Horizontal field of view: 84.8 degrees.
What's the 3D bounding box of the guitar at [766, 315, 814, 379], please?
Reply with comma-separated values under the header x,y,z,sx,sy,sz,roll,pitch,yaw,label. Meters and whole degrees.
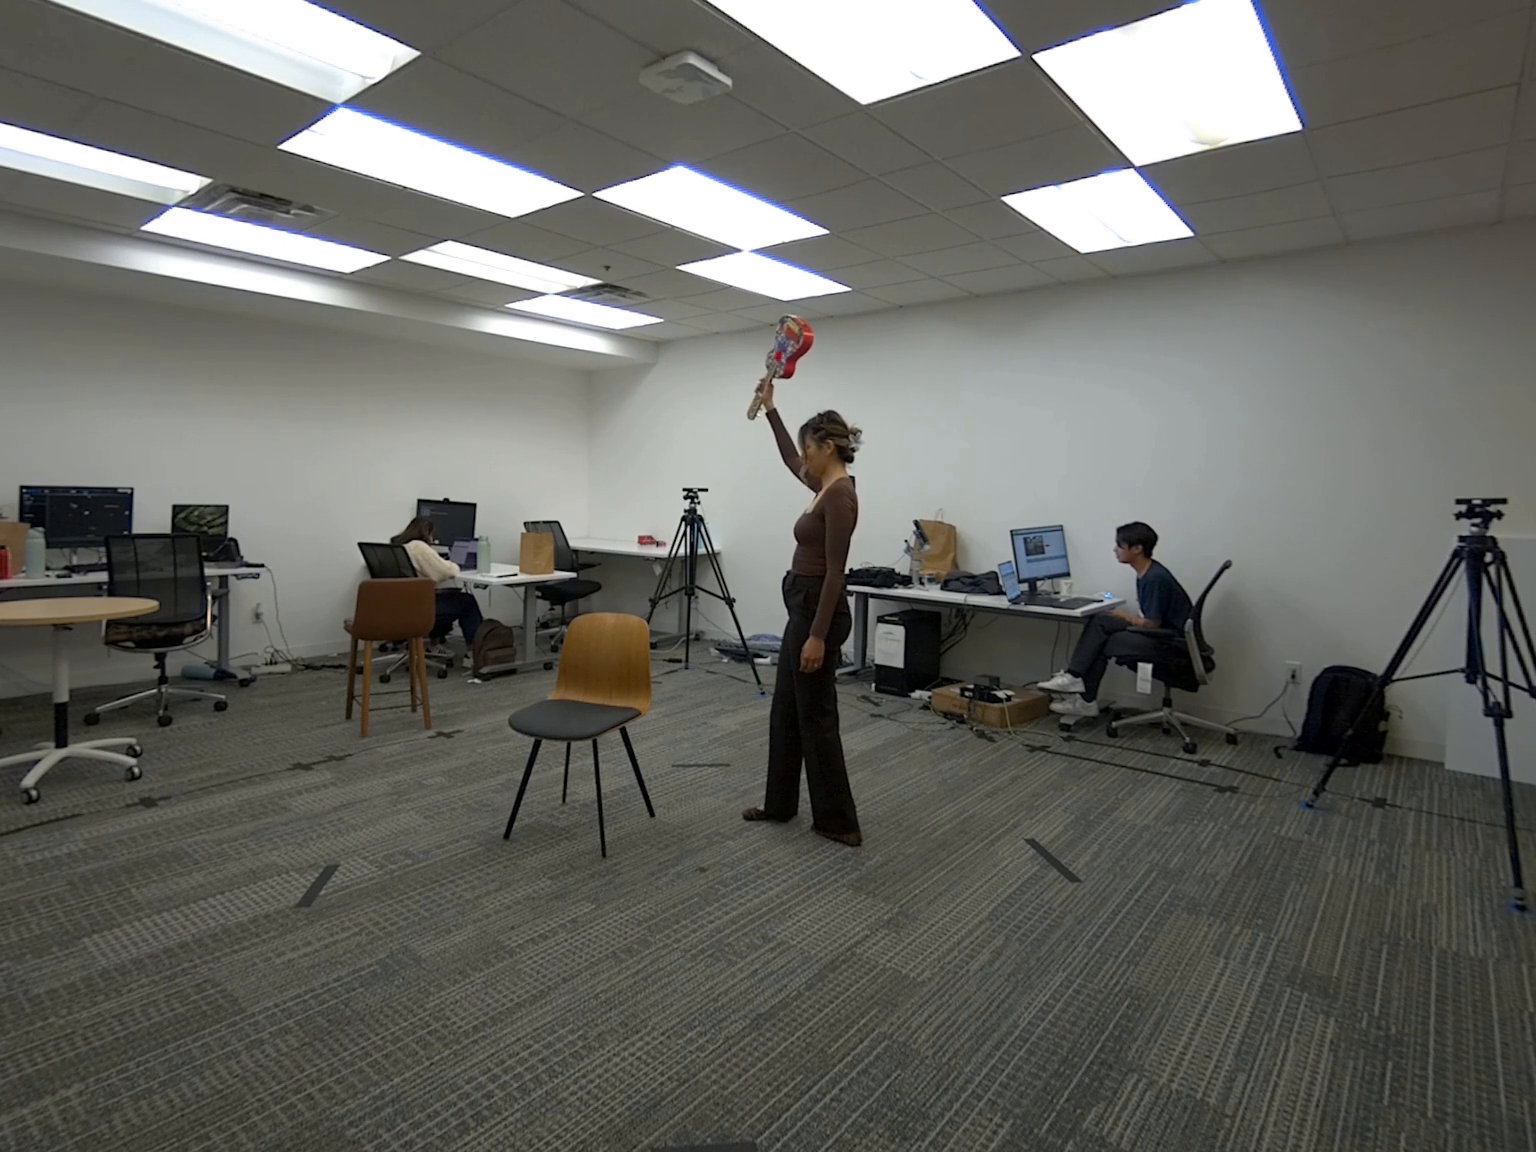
x,y,z,sx,sy,sz,roll,pitch,yaw,label
0.014,-0.925,3.753,0.068,0.200,0.495,0,-40,-40,guitar
